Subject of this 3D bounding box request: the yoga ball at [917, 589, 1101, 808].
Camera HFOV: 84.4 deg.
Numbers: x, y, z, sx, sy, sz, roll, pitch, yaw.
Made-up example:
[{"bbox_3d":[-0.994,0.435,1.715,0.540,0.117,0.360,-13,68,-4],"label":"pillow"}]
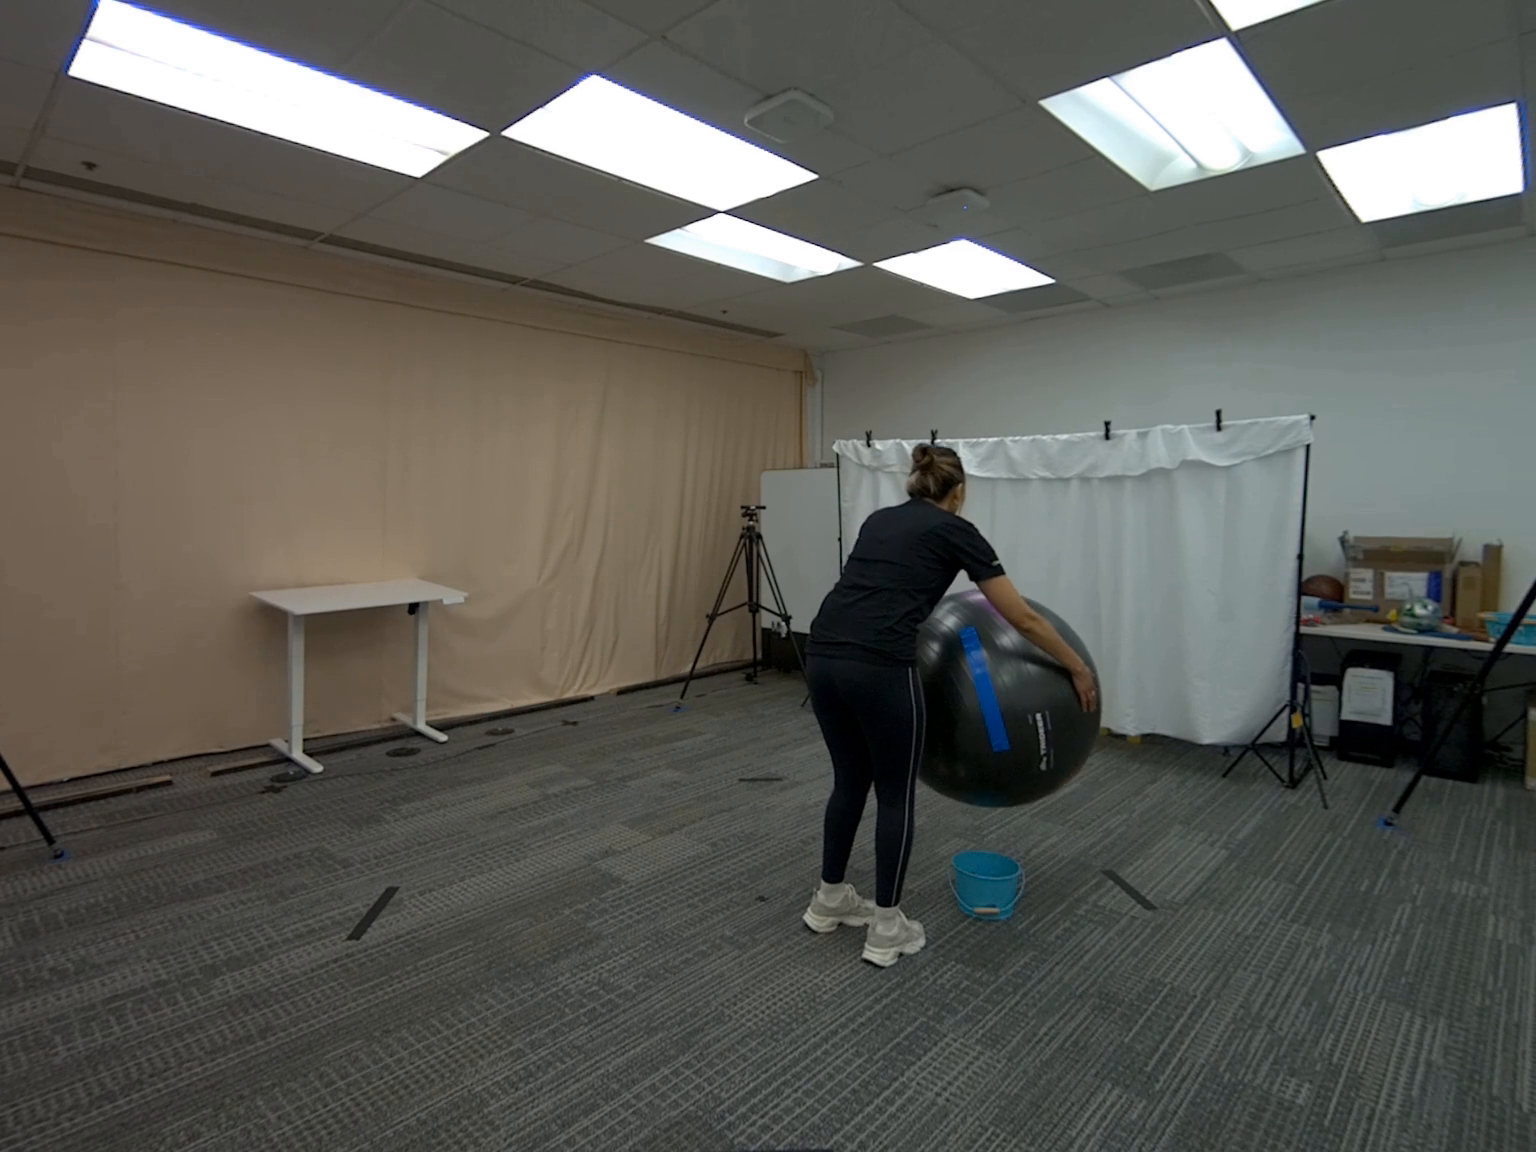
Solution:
[{"bbox_3d":[0.779,0.429,2.995,0.757,0.756,0.761,0,4,-2],"label":"yoga ball"}]
